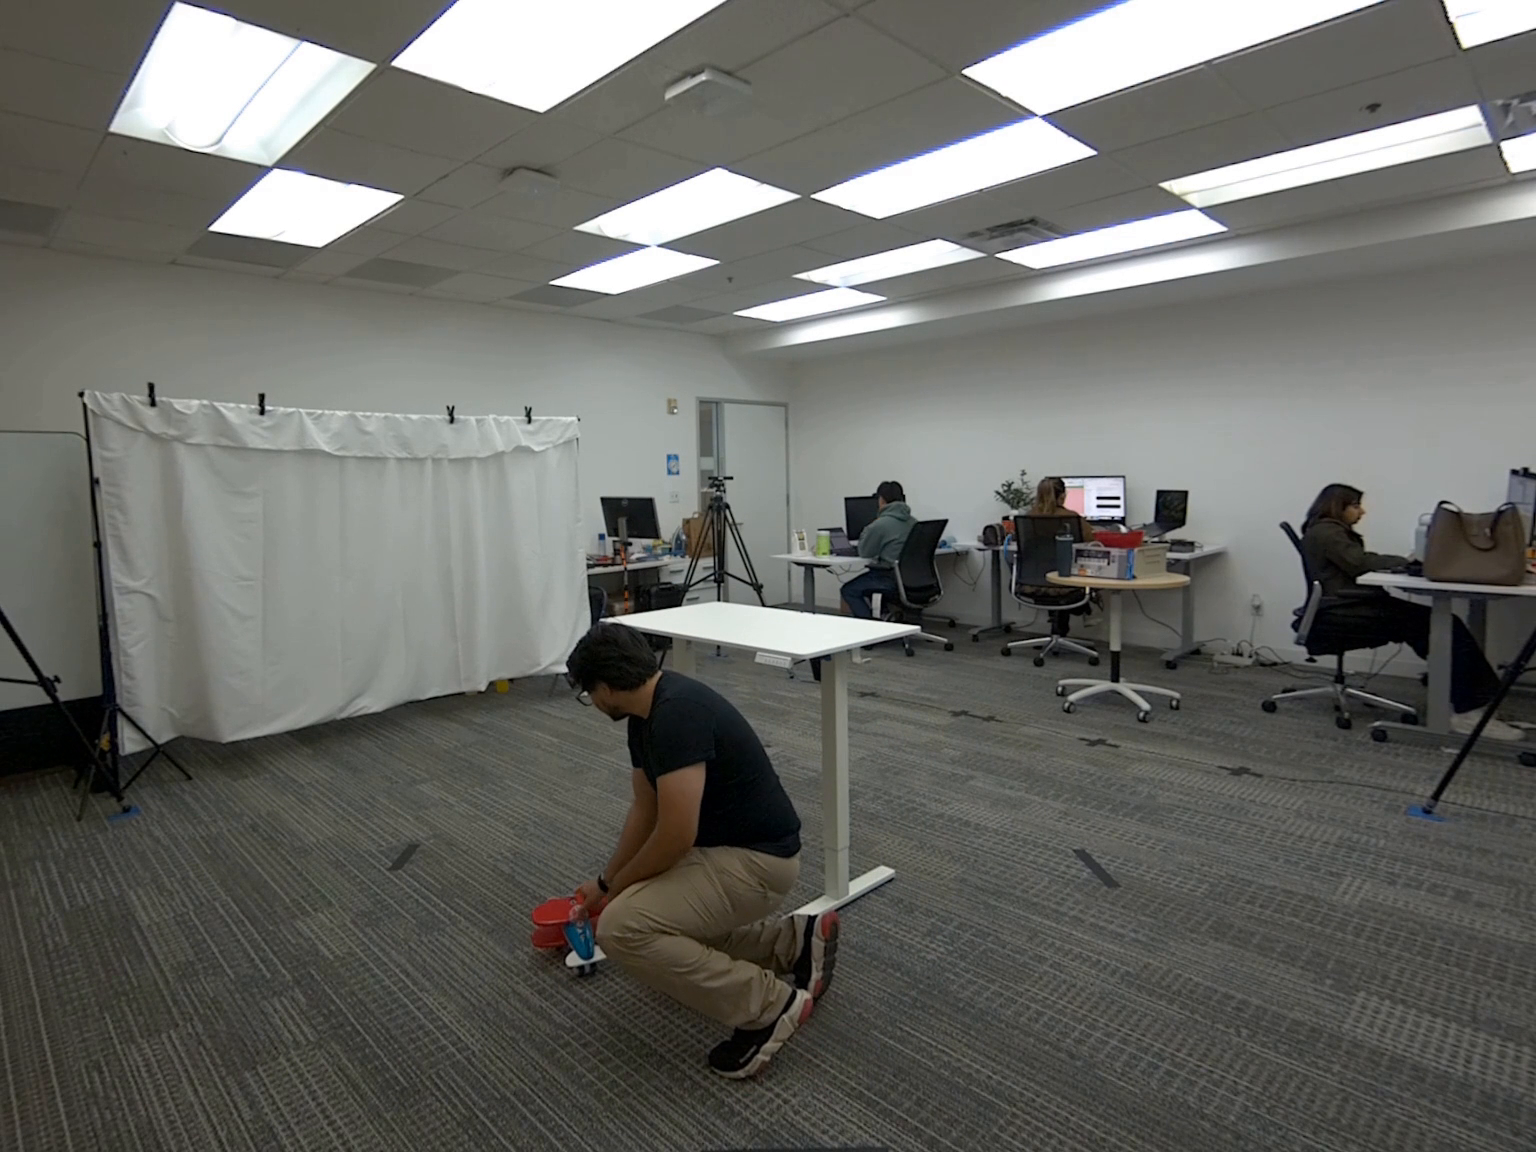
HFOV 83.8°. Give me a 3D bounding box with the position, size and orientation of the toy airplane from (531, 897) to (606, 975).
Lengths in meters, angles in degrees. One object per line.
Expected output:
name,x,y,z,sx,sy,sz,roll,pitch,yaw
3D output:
toy airplane,-0.544,1.042,2.515,0.267,0.156,0.245,3,8,38
